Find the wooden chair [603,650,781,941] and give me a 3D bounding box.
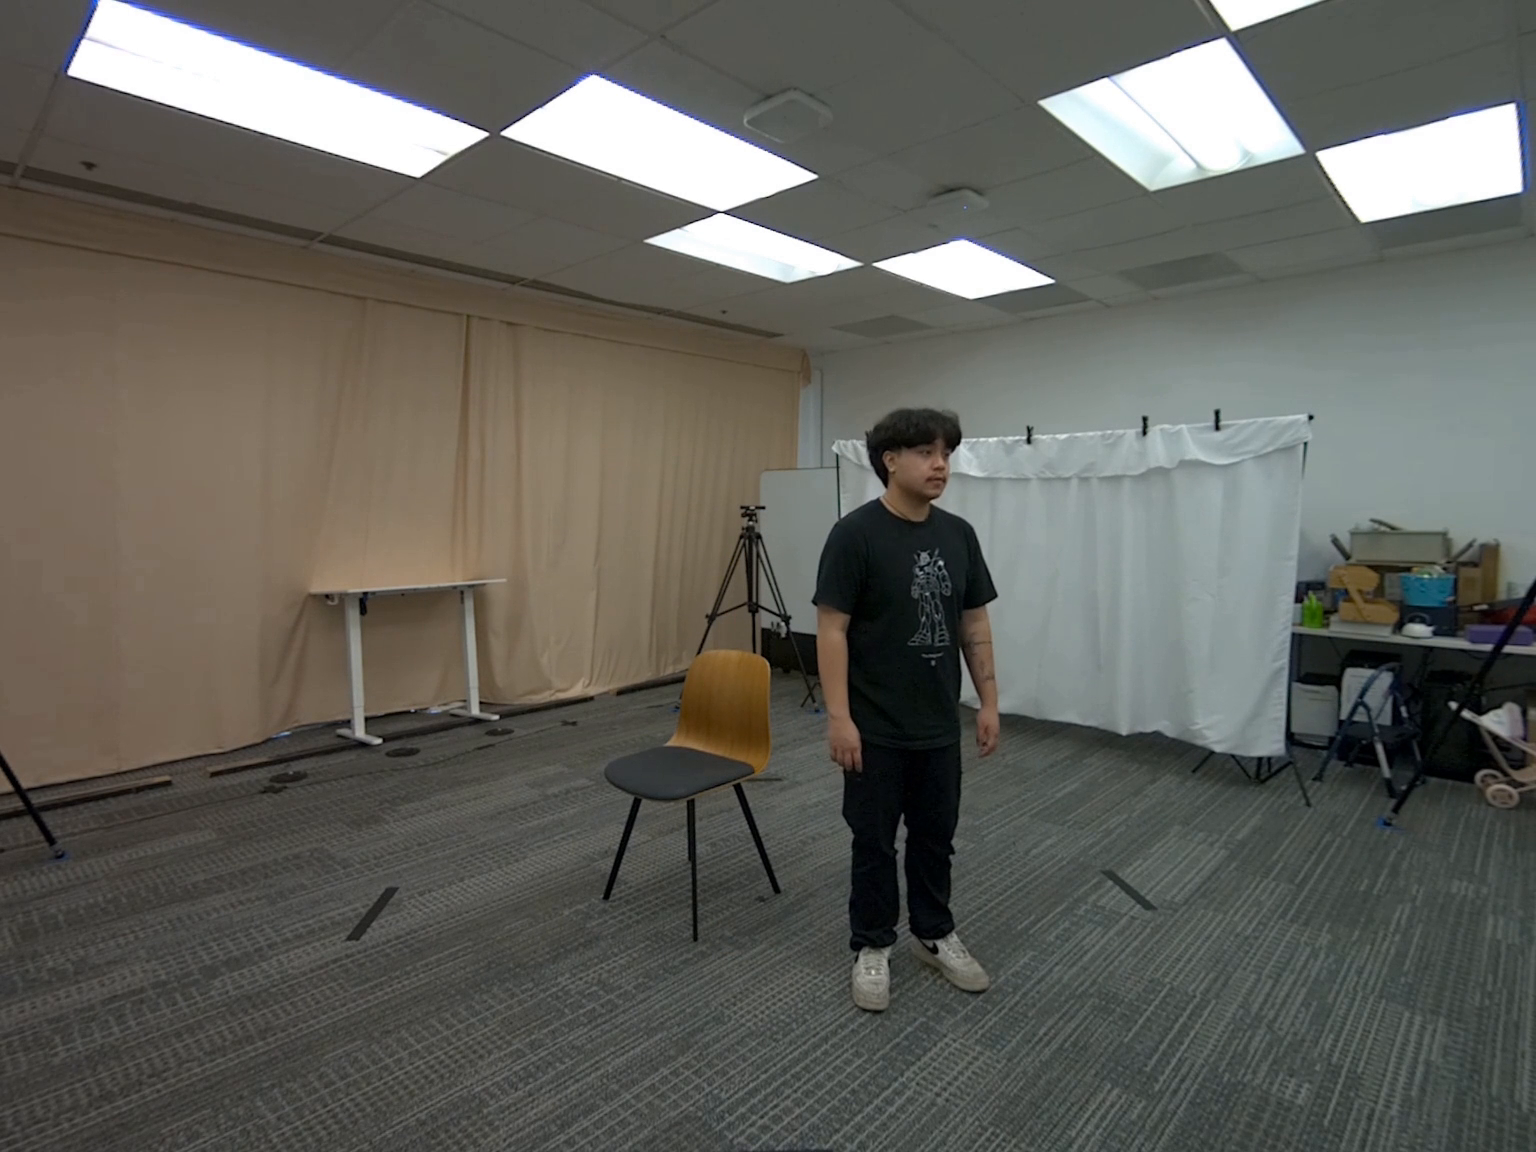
[{"bbox_3d":[-0.270,0.718,2.972,0.494,0.877,0.506,3,0,40],"label":"wooden chair"}]
